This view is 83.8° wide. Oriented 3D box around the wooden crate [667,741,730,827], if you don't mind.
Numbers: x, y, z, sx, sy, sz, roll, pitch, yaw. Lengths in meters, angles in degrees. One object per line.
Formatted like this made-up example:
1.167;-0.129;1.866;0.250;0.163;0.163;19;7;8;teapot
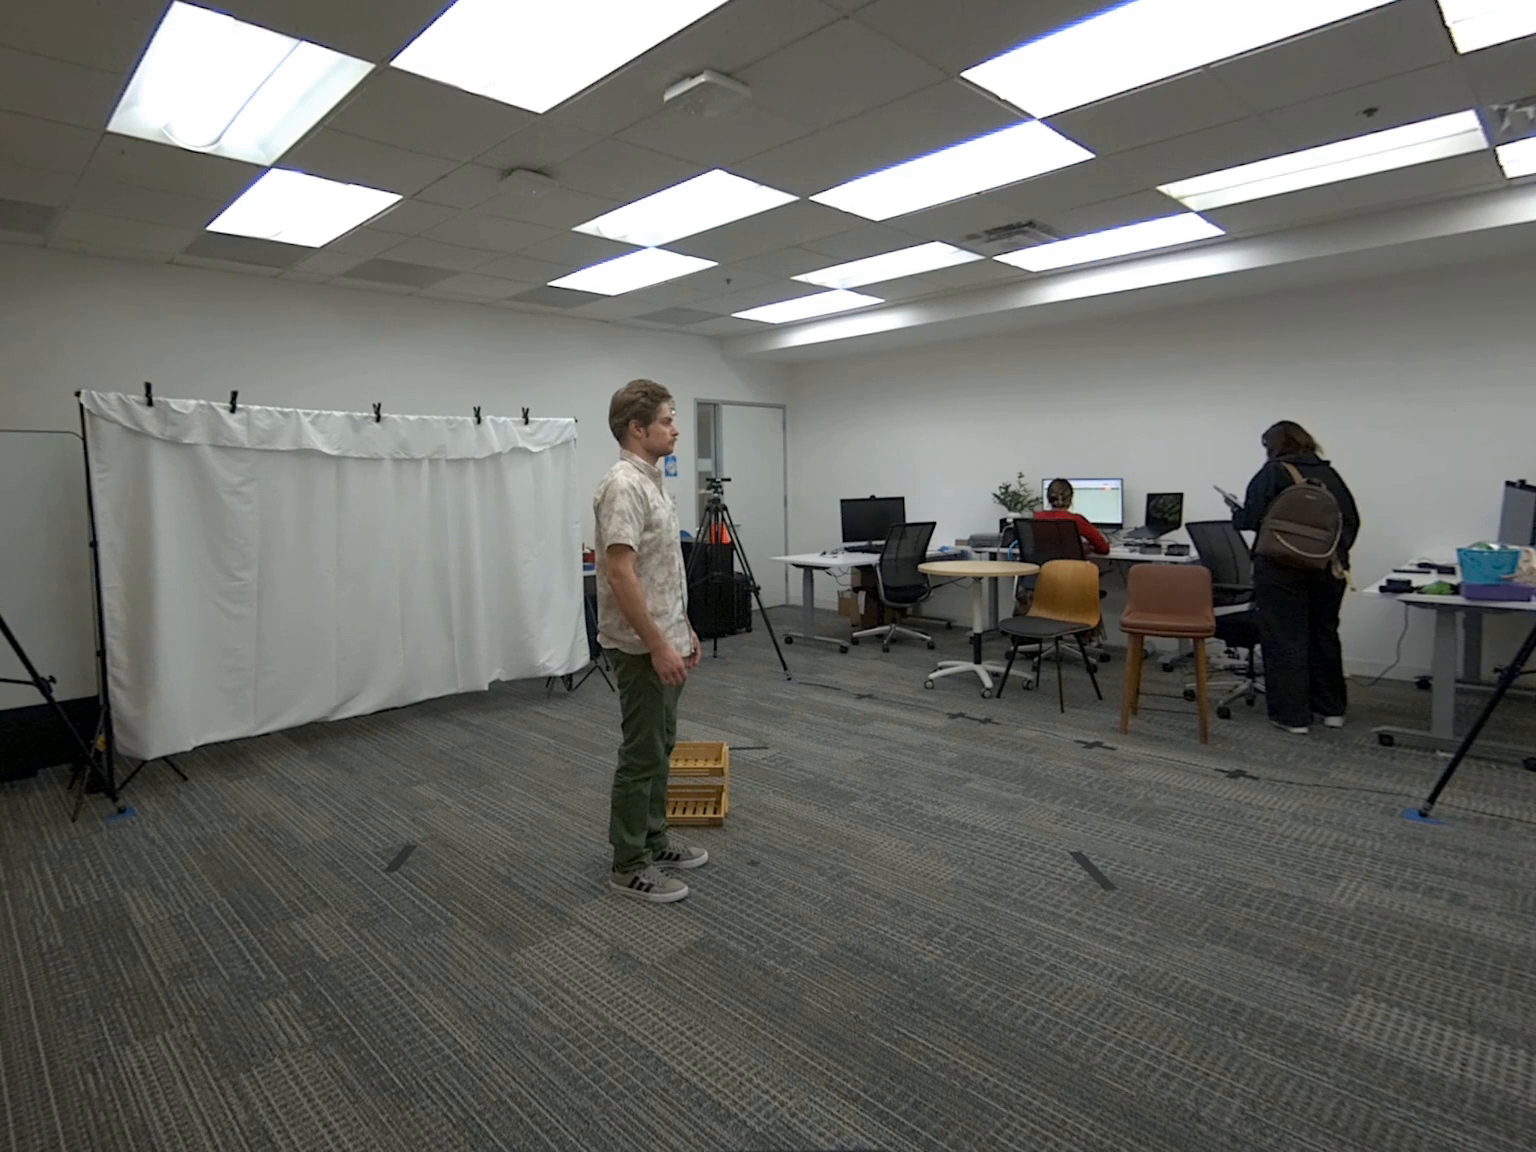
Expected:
-0.327;0.861;3.564;0.325;0.272;0.303;-1;5;2;wooden crate
